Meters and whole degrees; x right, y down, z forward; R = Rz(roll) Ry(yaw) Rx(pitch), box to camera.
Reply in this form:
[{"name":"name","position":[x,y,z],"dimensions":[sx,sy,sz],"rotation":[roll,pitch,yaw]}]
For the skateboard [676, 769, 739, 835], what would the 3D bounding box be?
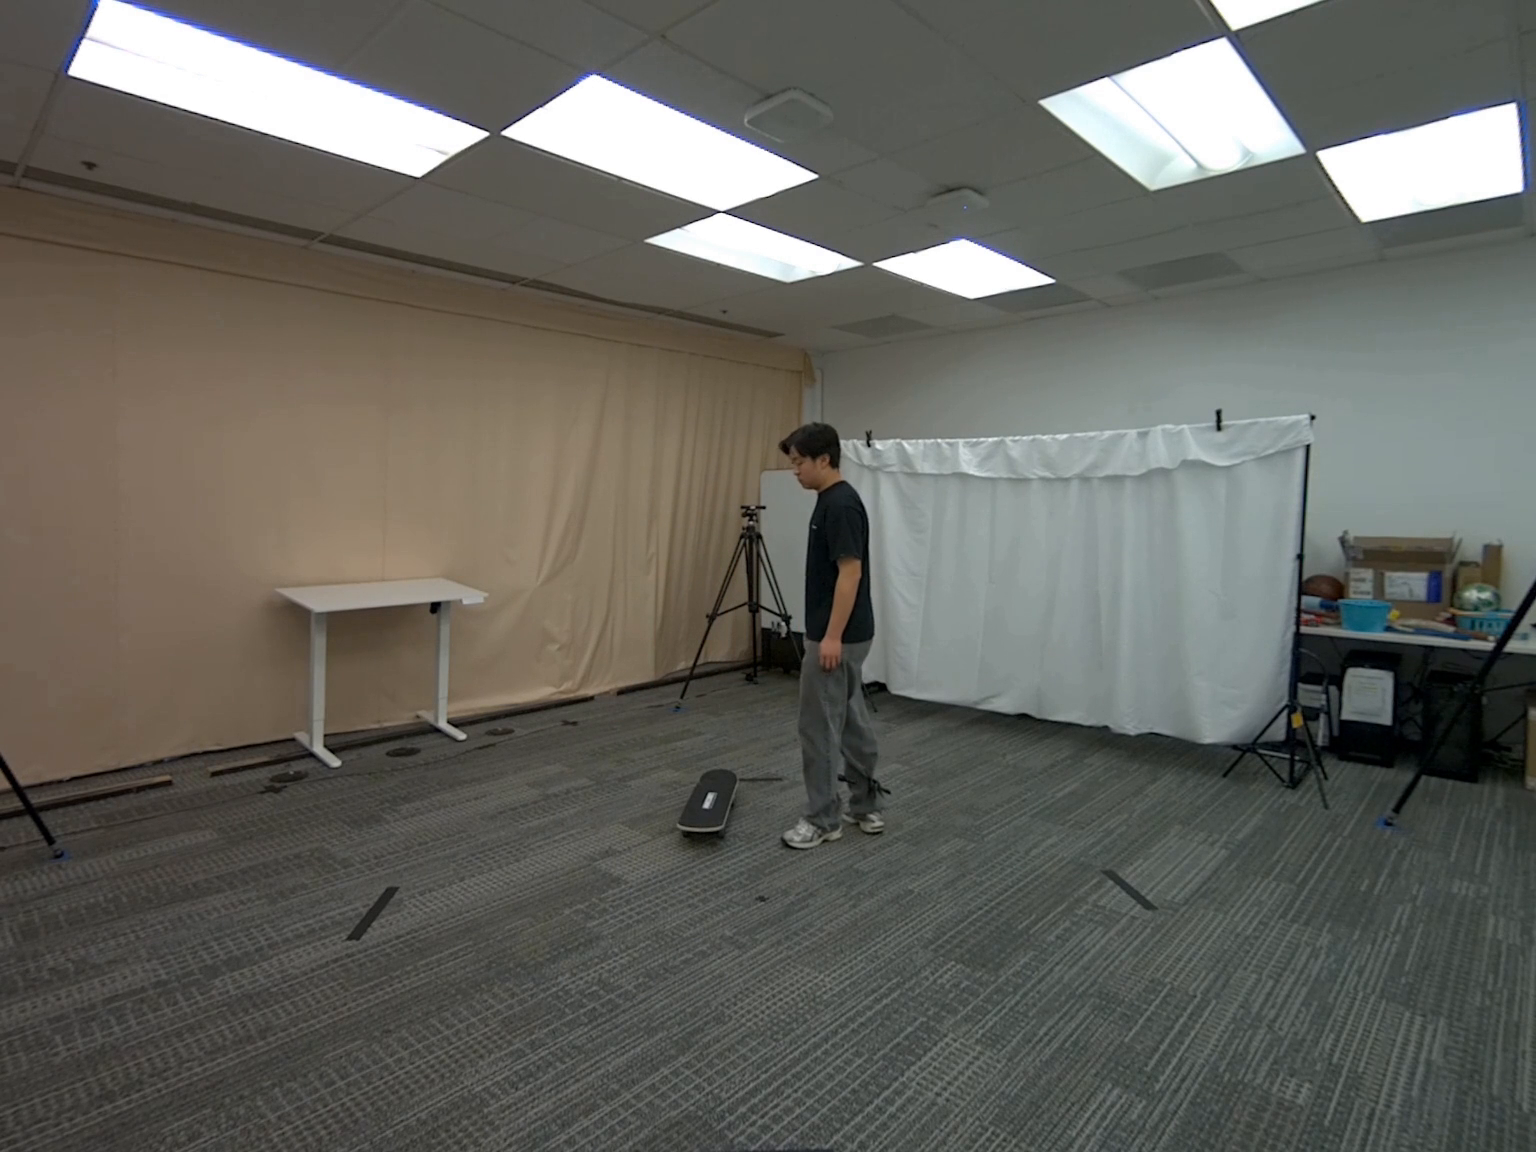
[{"name":"skateboard","position":[-0.256,1.024,3.732],"dimensions":[0.195,0.110,0.782],"rotation":[-1,4,4]}]
